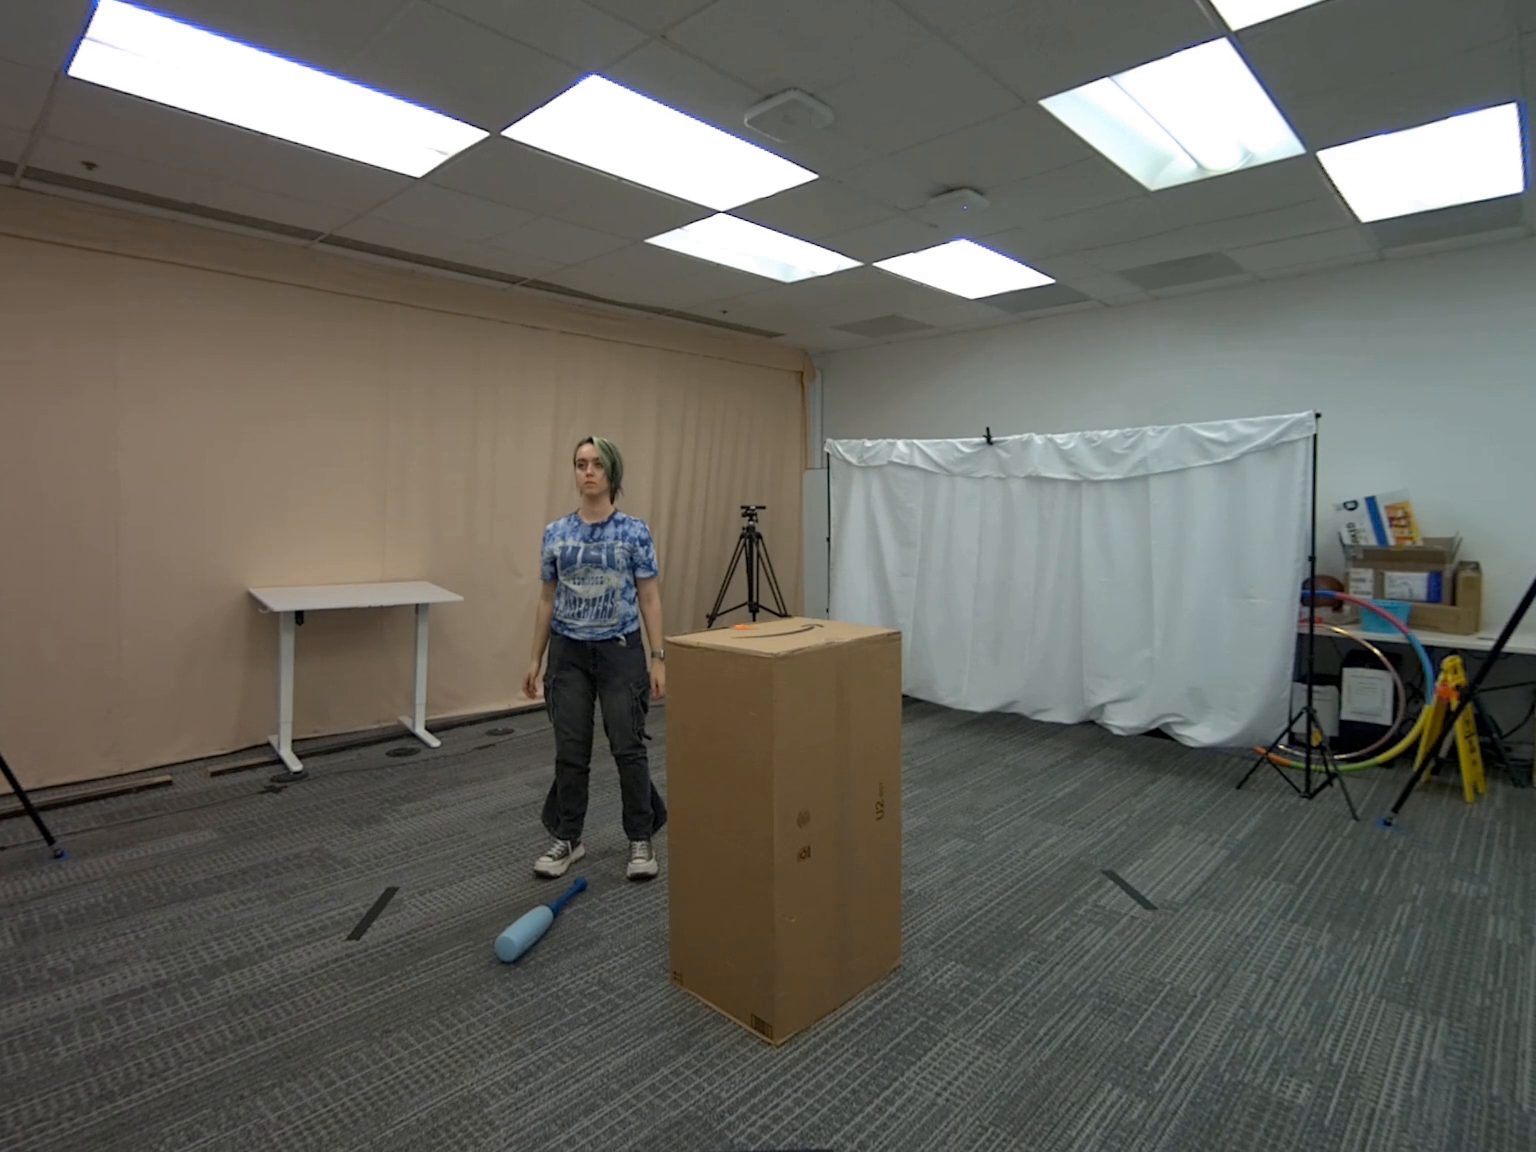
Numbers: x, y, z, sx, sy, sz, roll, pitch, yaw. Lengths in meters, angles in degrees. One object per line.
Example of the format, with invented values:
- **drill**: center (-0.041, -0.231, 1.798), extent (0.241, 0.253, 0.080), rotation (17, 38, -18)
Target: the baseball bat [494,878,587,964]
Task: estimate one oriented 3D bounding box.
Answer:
- **baseball bat**: center (-0.737, 1.136, 2.800), extent (0.090, 0.089, 0.535), rotation (1, 1, 13)
